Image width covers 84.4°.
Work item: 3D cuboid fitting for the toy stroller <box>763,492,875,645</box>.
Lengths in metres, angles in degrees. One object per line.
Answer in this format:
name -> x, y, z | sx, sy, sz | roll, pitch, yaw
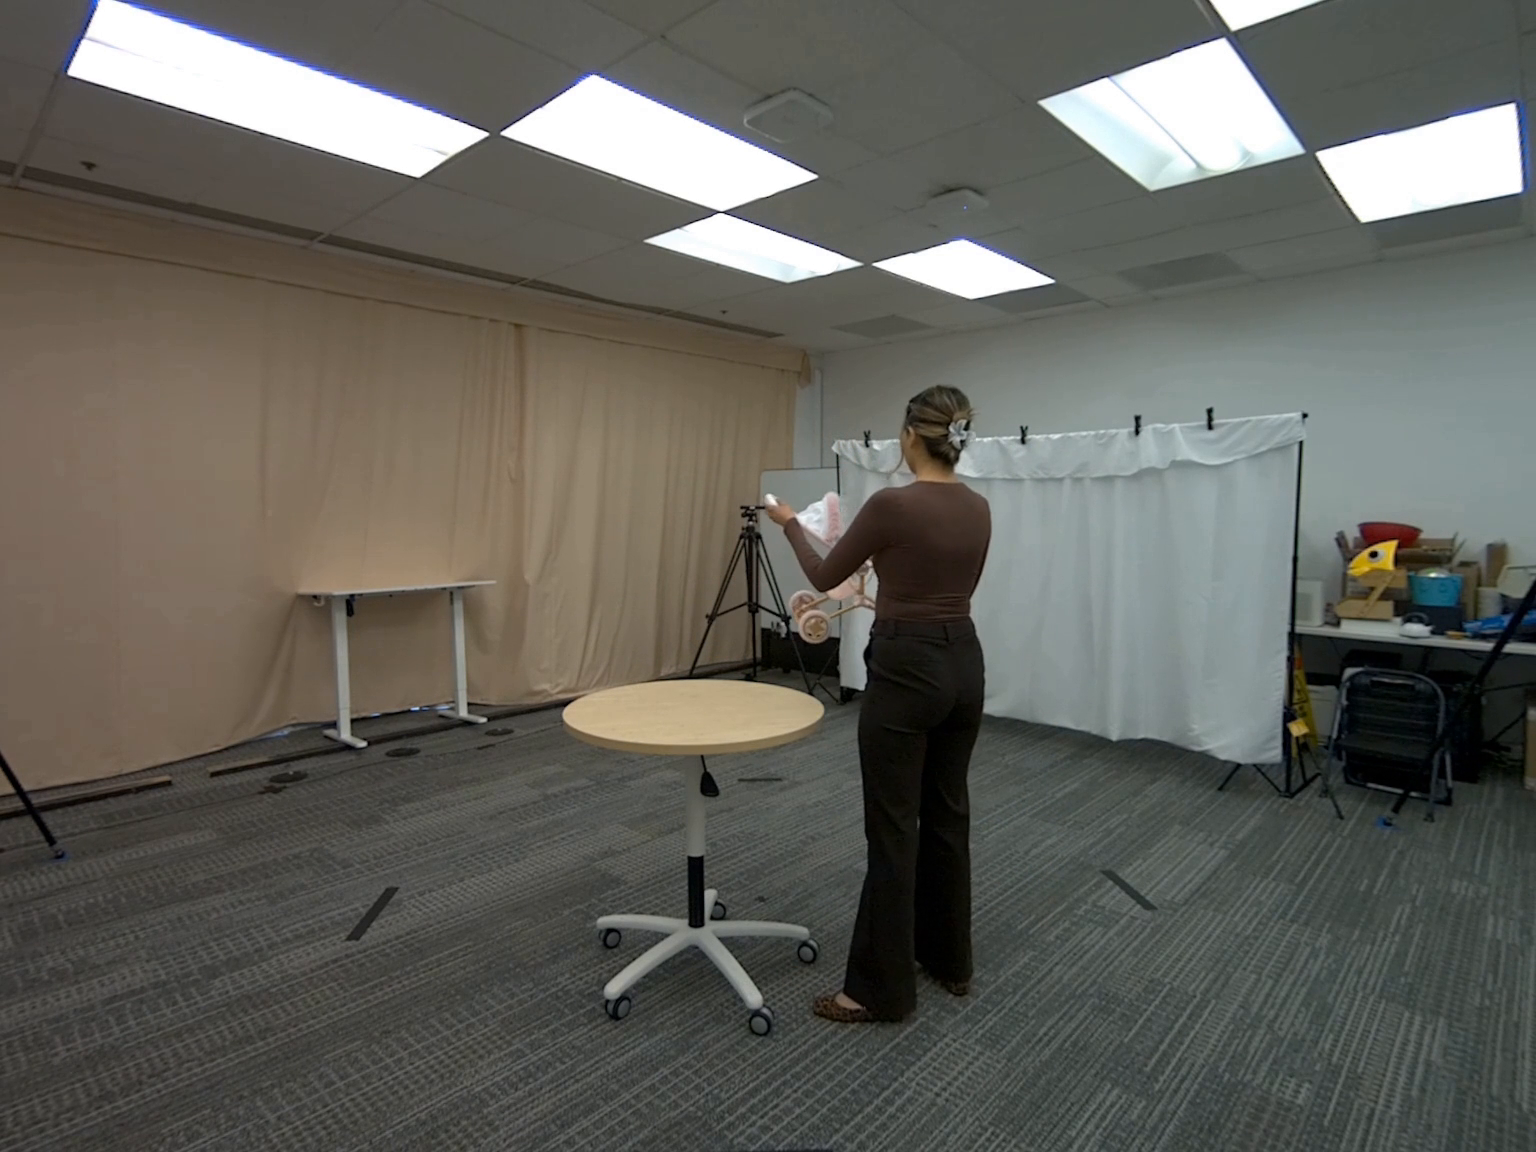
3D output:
toy stroller -> 0.224, -0.034, 2.769 | 0.342, 0.530, 0.284 | -12, 11, 1
